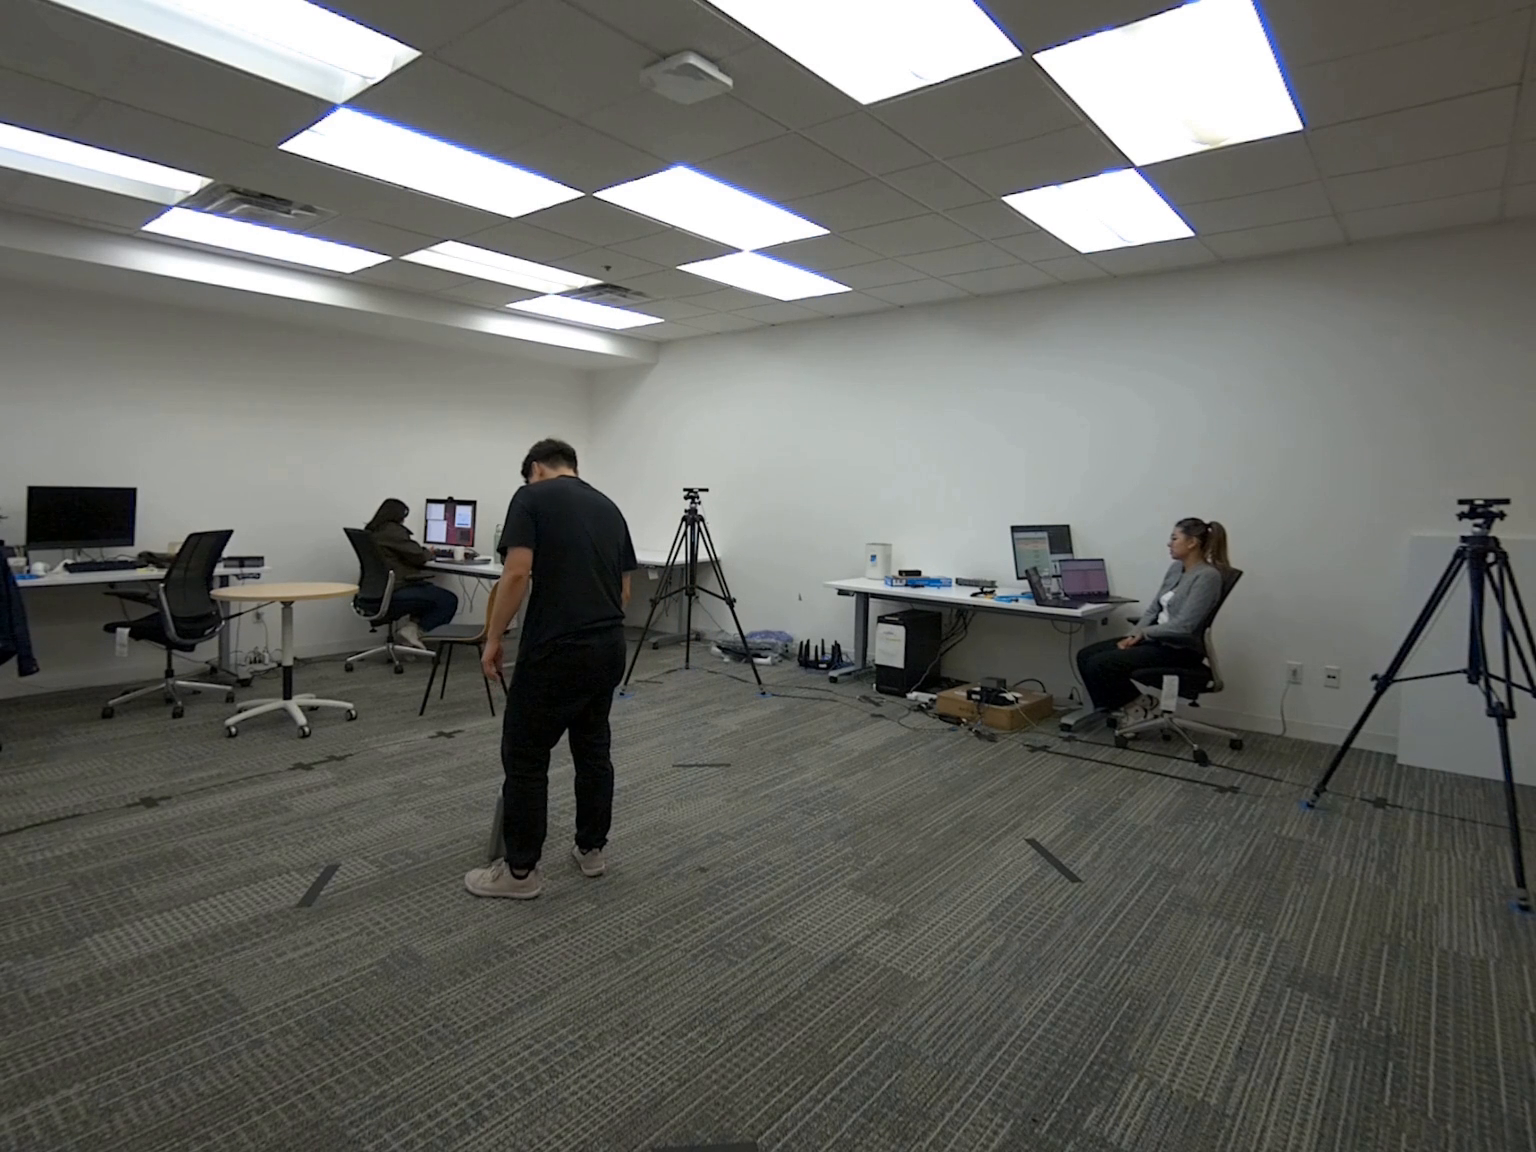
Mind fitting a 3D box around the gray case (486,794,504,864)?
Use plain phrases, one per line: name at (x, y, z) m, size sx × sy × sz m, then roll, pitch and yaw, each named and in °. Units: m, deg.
gray case at (-0.994, 0.909, 3.242) m, size 0.103 × 0.260 × 0.260 m, roll 9°, pitch 1°, yaw -10°
